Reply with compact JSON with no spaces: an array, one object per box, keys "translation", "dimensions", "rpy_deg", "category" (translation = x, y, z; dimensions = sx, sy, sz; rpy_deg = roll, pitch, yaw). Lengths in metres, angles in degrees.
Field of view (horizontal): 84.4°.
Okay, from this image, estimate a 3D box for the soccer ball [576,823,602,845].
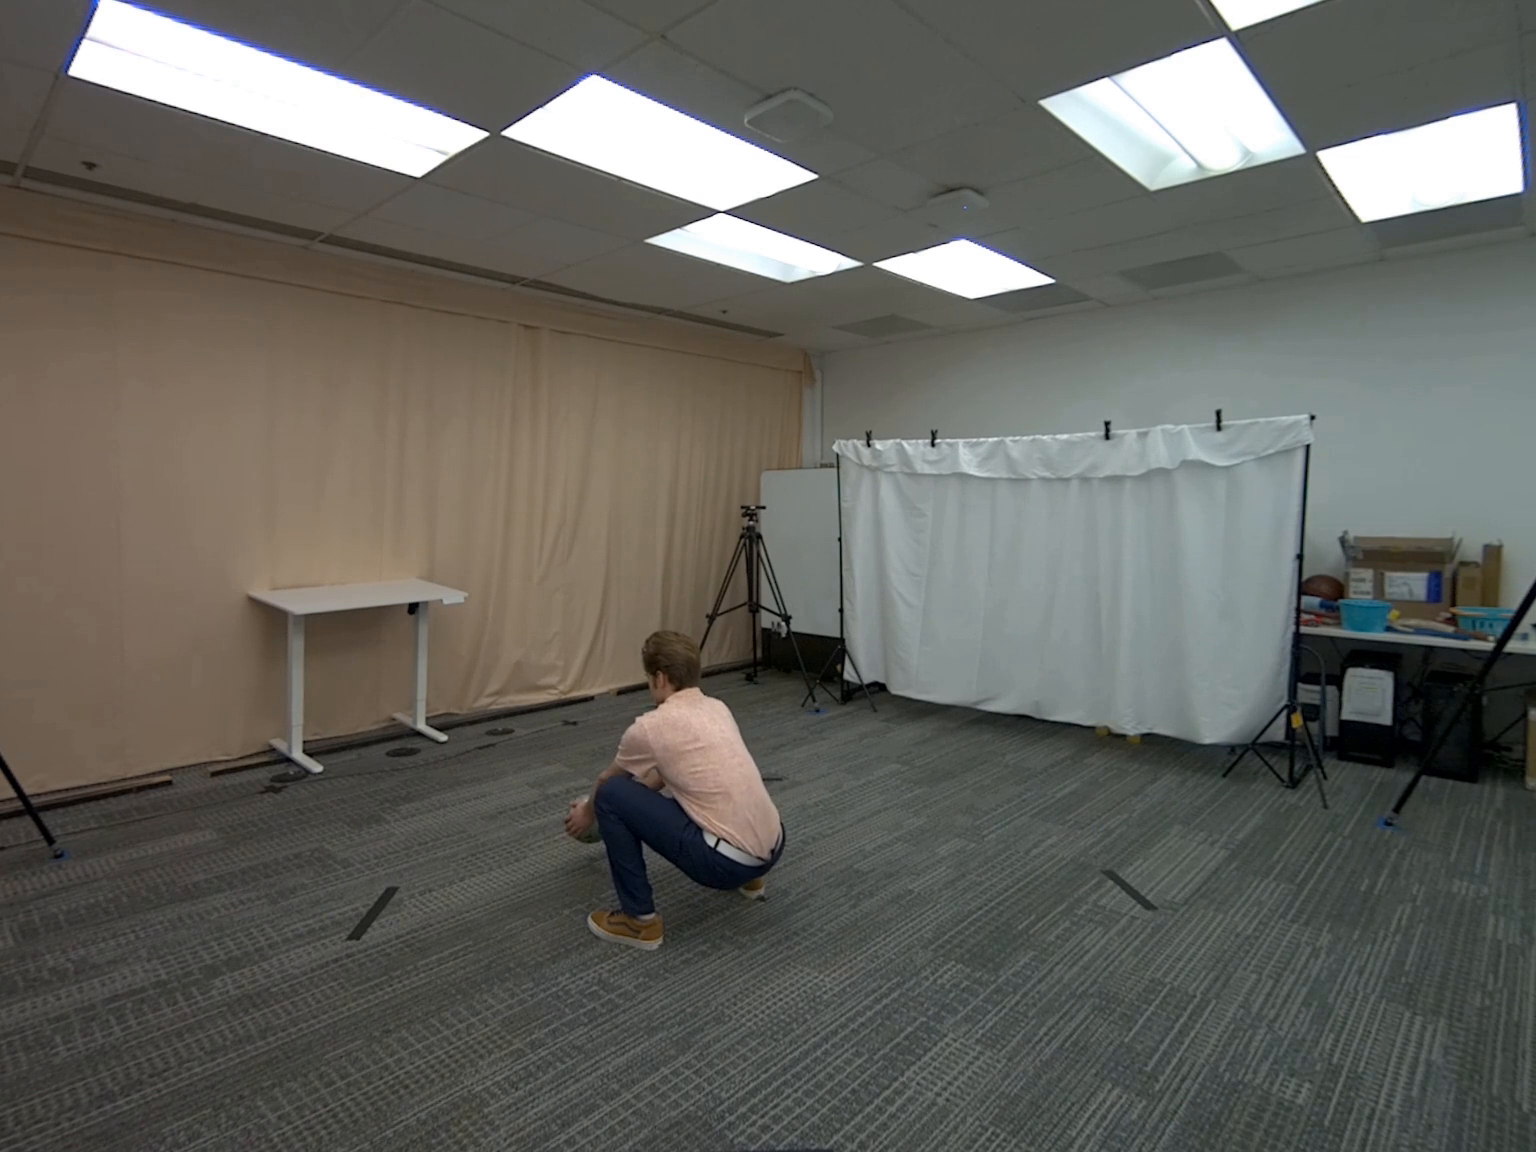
[{"translation":[-0.678,0.942,3.258],"dimensions":[0.187,0.187,0.188],"rpy_deg":[0,4,-2],"category":"soccer ball"}]
